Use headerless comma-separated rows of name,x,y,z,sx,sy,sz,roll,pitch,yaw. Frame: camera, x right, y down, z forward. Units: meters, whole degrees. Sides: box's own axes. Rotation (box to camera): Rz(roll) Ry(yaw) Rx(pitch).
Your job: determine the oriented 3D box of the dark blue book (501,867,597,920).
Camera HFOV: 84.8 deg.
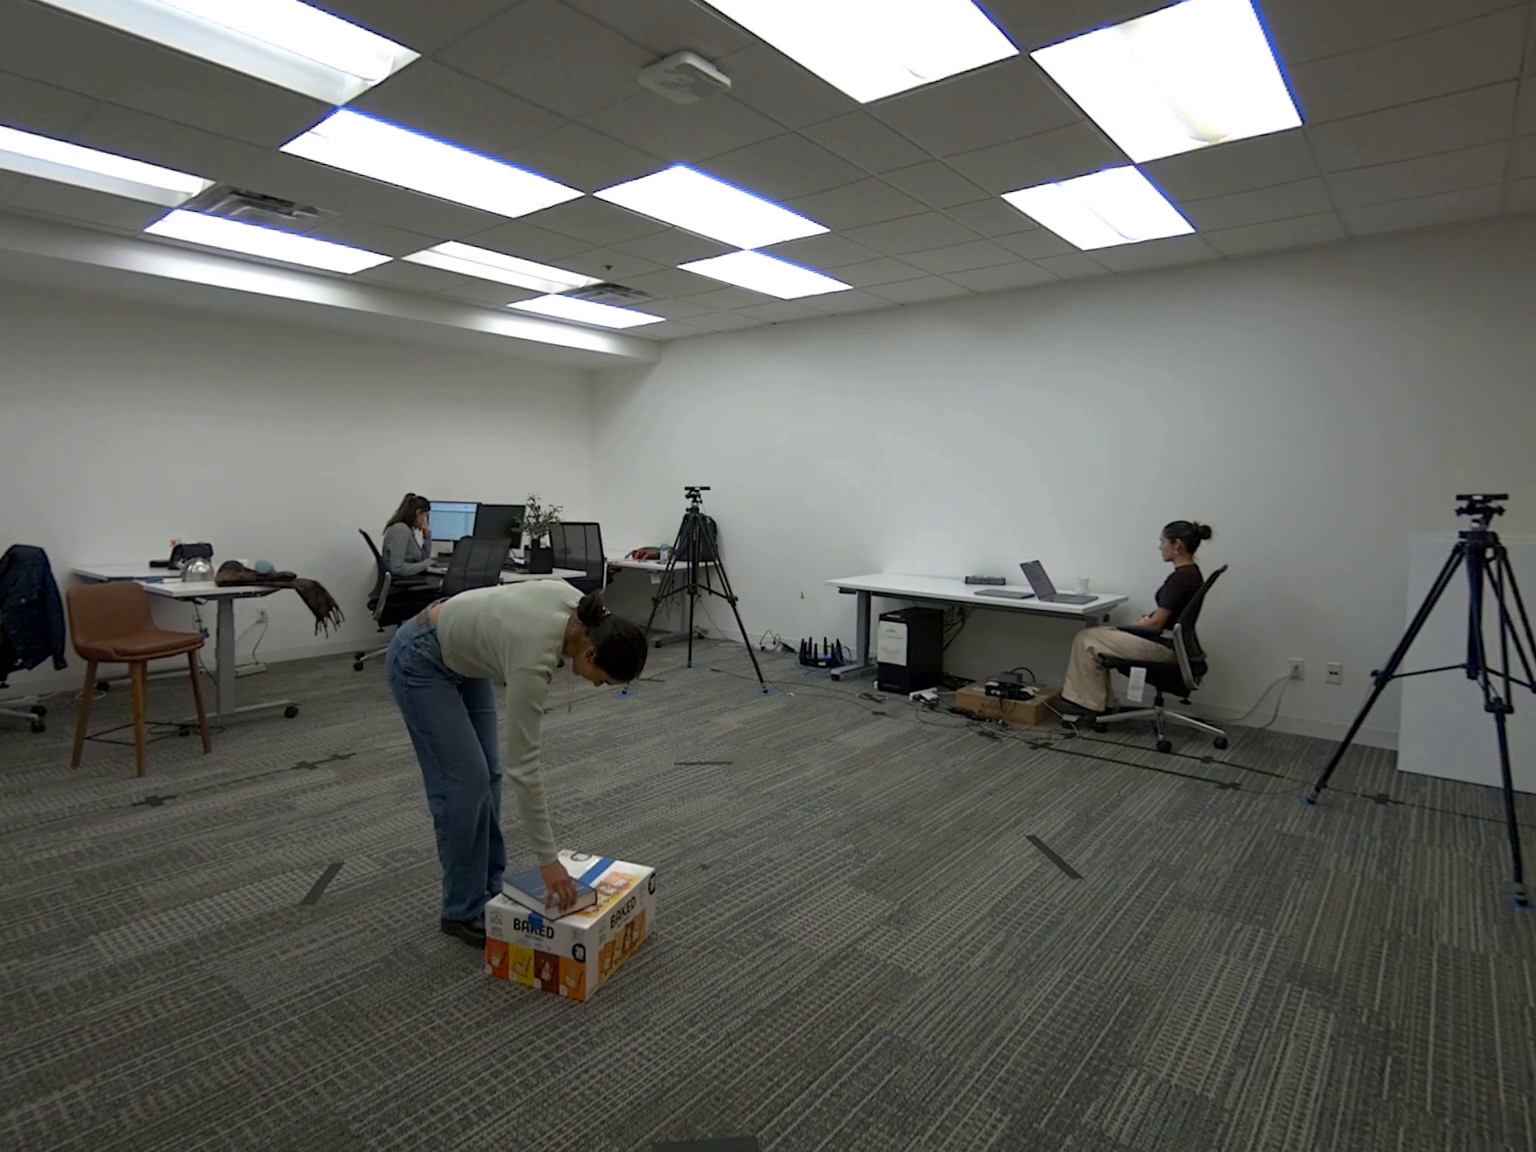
dark blue book,-0.647,0.910,2.449,0.253,0.045,0.158,6,6,40
